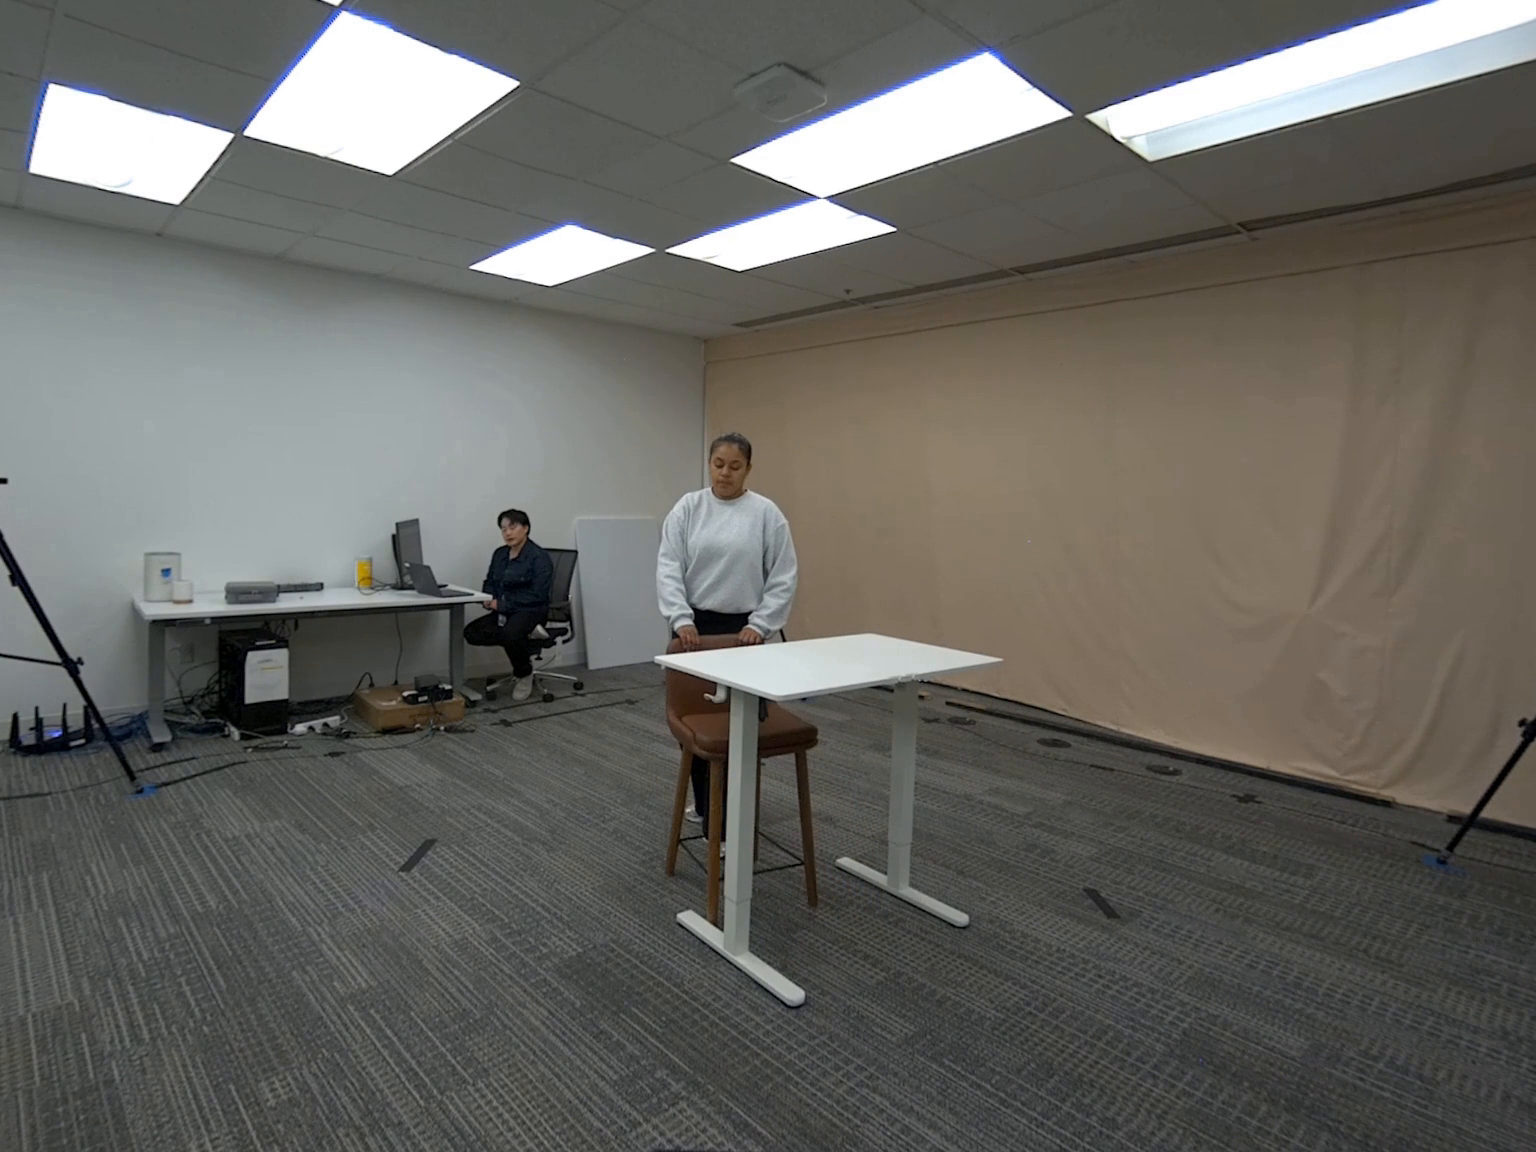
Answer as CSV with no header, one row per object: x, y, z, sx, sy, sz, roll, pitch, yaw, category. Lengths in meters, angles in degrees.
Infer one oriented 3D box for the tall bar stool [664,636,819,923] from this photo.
-0.116,0.681,2.975,0.448,0.889,0.477,0,1,-27,tall bar stool
